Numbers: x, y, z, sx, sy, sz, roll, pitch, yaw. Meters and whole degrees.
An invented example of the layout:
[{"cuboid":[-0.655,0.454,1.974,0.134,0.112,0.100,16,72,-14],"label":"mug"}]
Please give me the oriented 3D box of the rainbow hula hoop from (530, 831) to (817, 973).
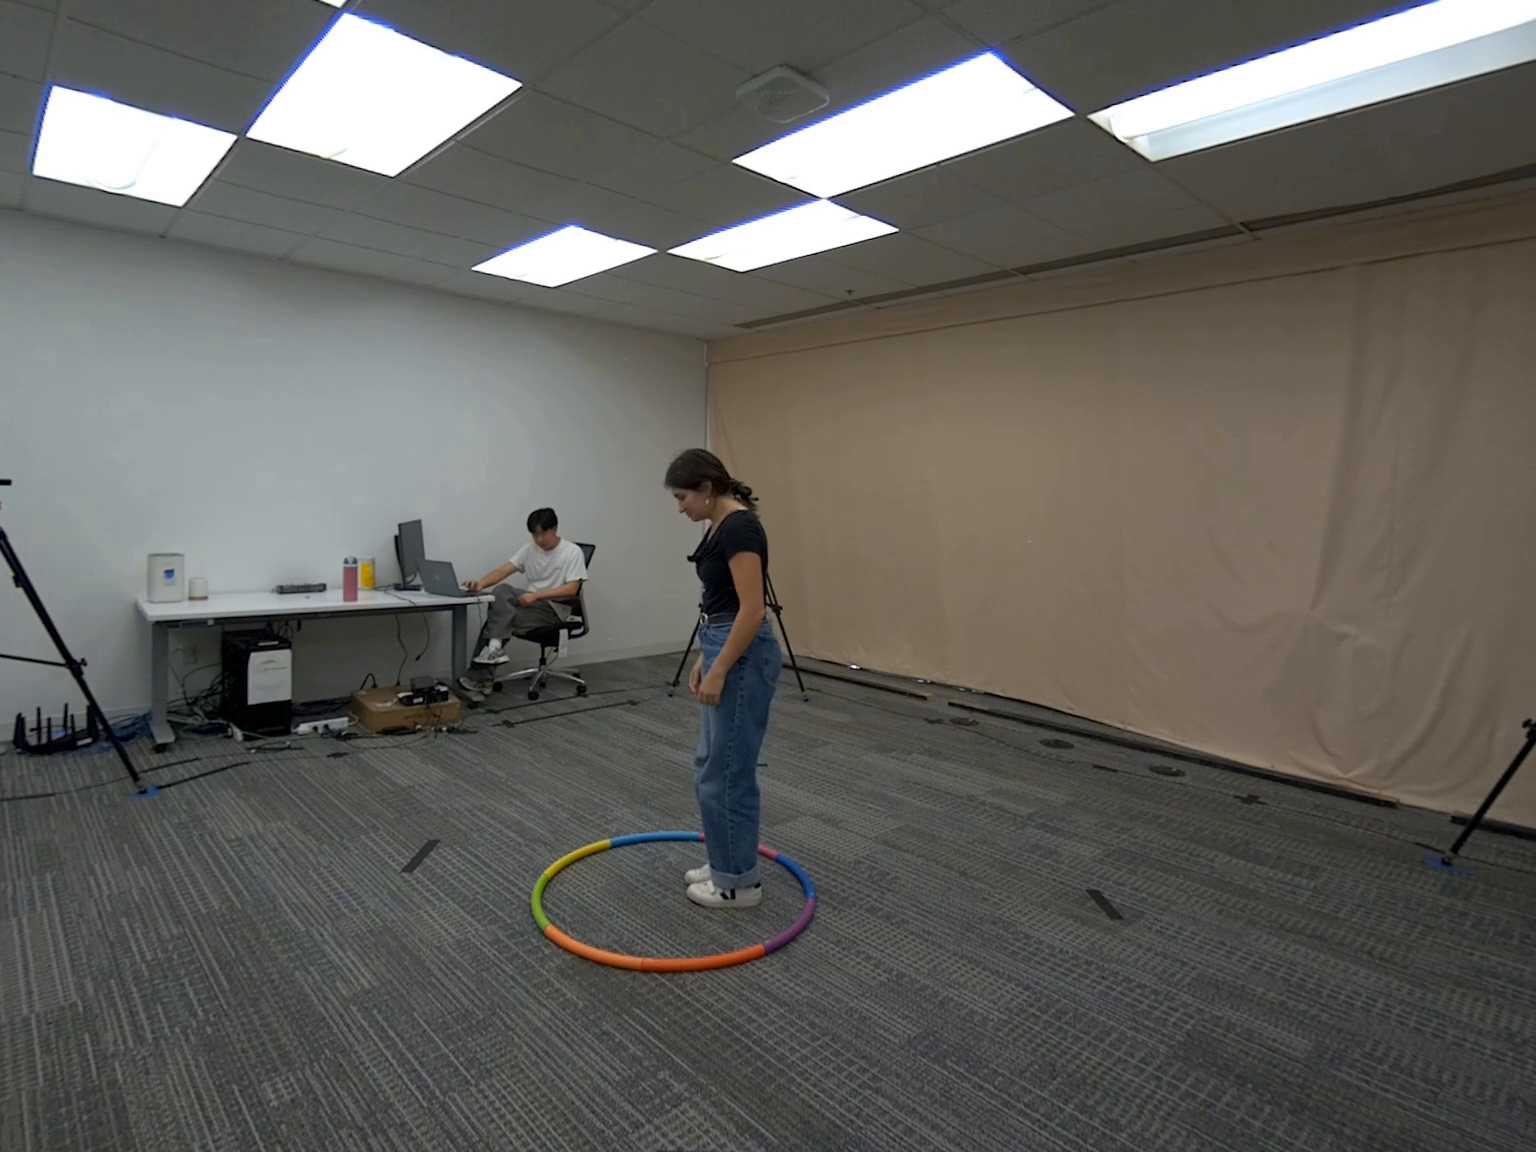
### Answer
[{"cuboid":[-0.328,1.092,2.940,0.978,0.035,0.982,1,5,-1],"label":"rainbow hula hoop"}]
